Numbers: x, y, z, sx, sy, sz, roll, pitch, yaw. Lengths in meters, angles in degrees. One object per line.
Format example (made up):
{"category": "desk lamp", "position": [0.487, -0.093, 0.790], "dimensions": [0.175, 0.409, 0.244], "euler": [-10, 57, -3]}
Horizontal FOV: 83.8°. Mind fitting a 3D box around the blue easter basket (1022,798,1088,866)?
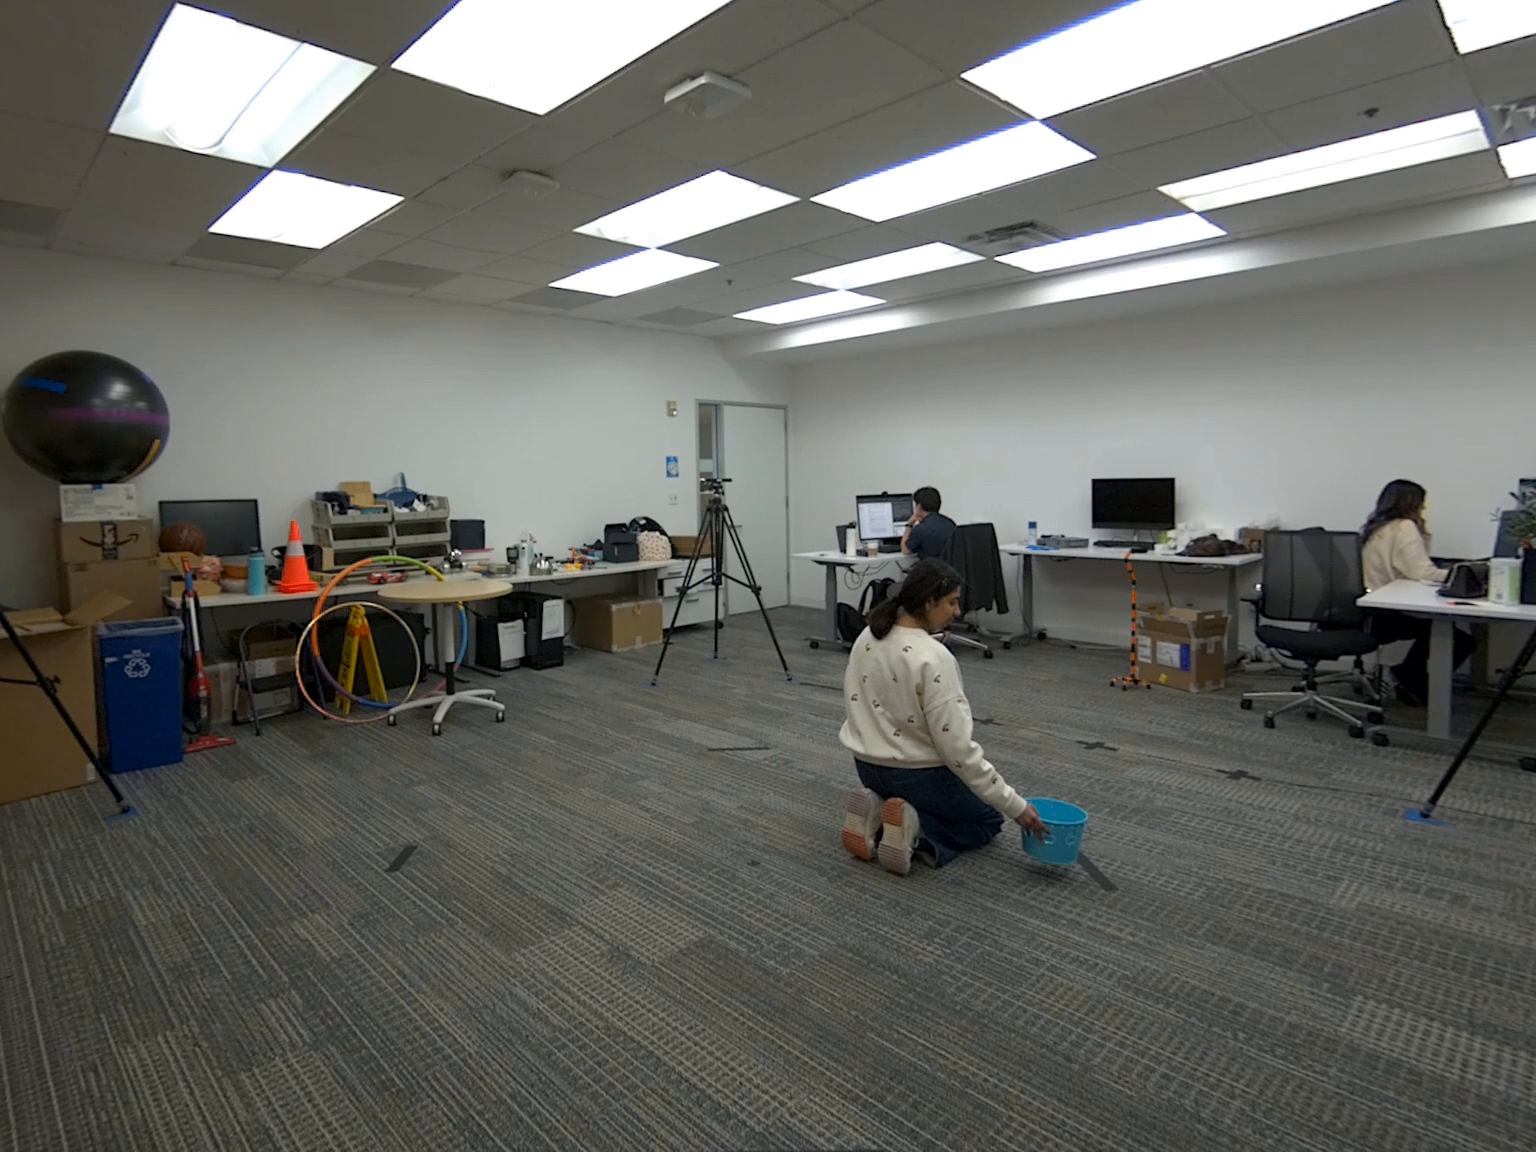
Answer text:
{"category": "blue easter basket", "position": [0.993, 0.884, 2.984], "dimensions": [0.243, 0.155, 0.245], "euler": [3, 6, -2]}
